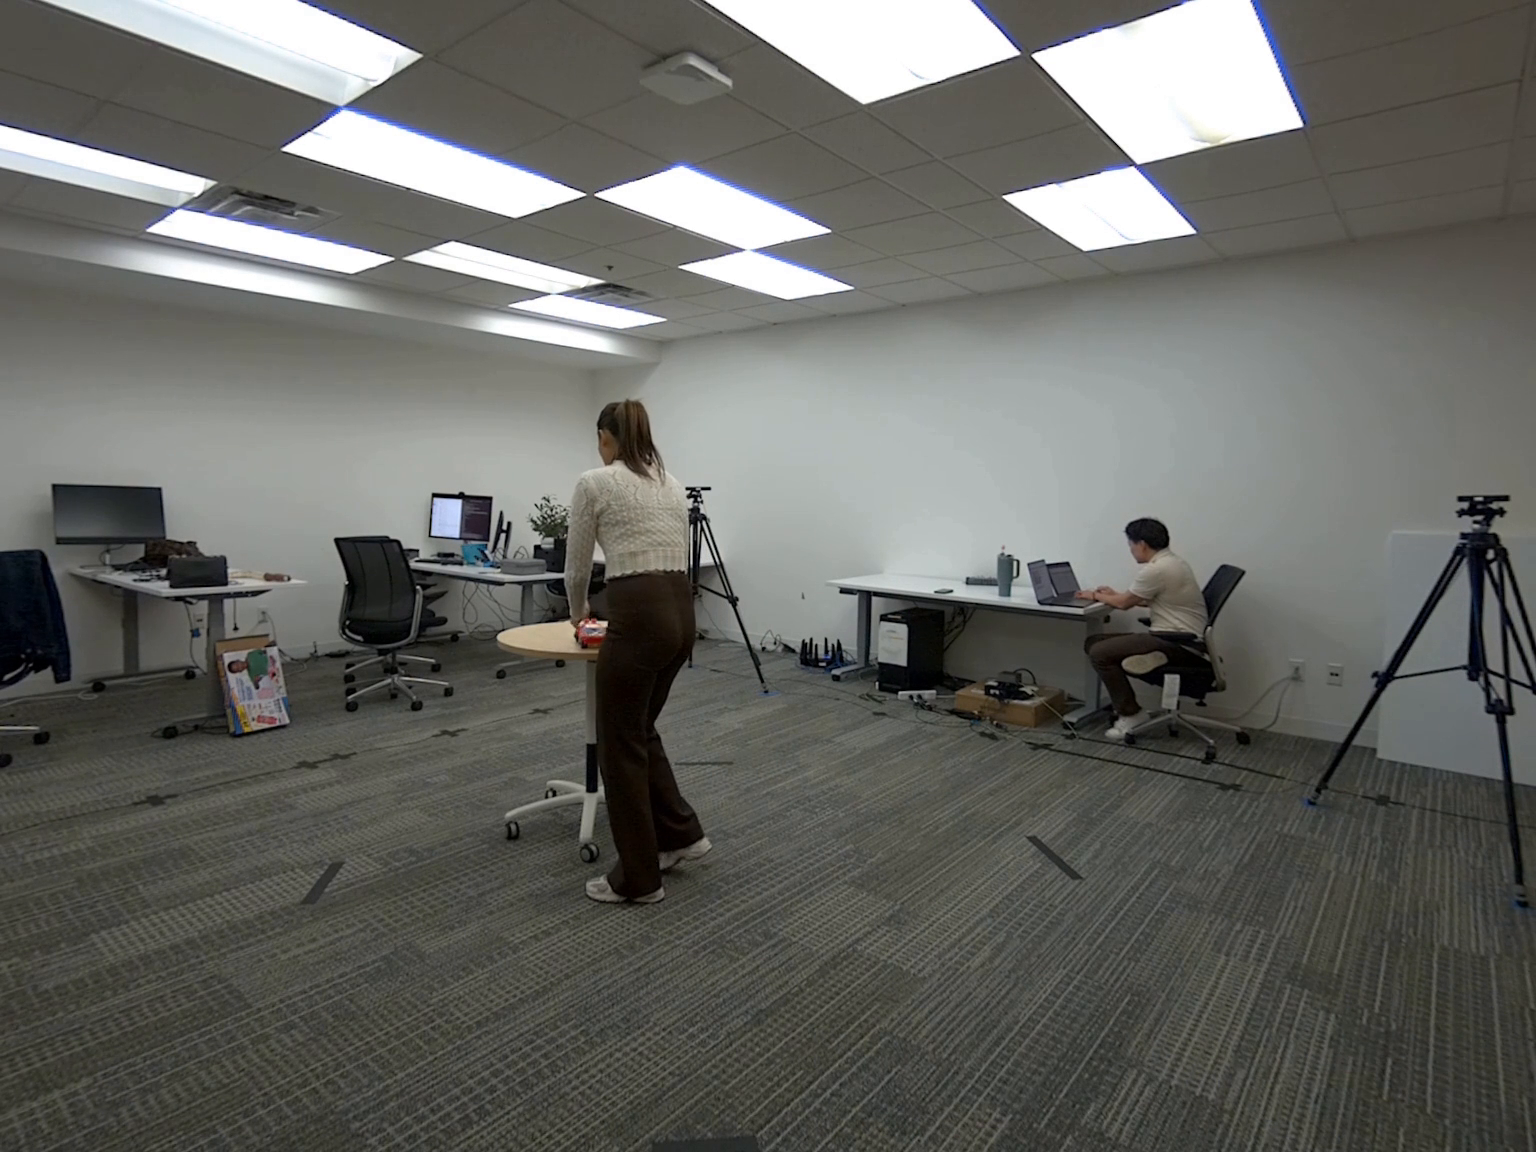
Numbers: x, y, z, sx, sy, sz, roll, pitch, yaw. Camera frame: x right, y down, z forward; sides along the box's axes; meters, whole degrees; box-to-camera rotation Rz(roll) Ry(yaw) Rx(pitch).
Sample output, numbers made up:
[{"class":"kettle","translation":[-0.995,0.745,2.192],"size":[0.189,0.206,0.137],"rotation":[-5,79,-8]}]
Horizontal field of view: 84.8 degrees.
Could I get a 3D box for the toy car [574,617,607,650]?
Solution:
[{"class":"toy car","translation":[-0.689,0.224,3.278],"size":[0.128,0.082,0.262],"rotation":[-3,18,-17]}]
